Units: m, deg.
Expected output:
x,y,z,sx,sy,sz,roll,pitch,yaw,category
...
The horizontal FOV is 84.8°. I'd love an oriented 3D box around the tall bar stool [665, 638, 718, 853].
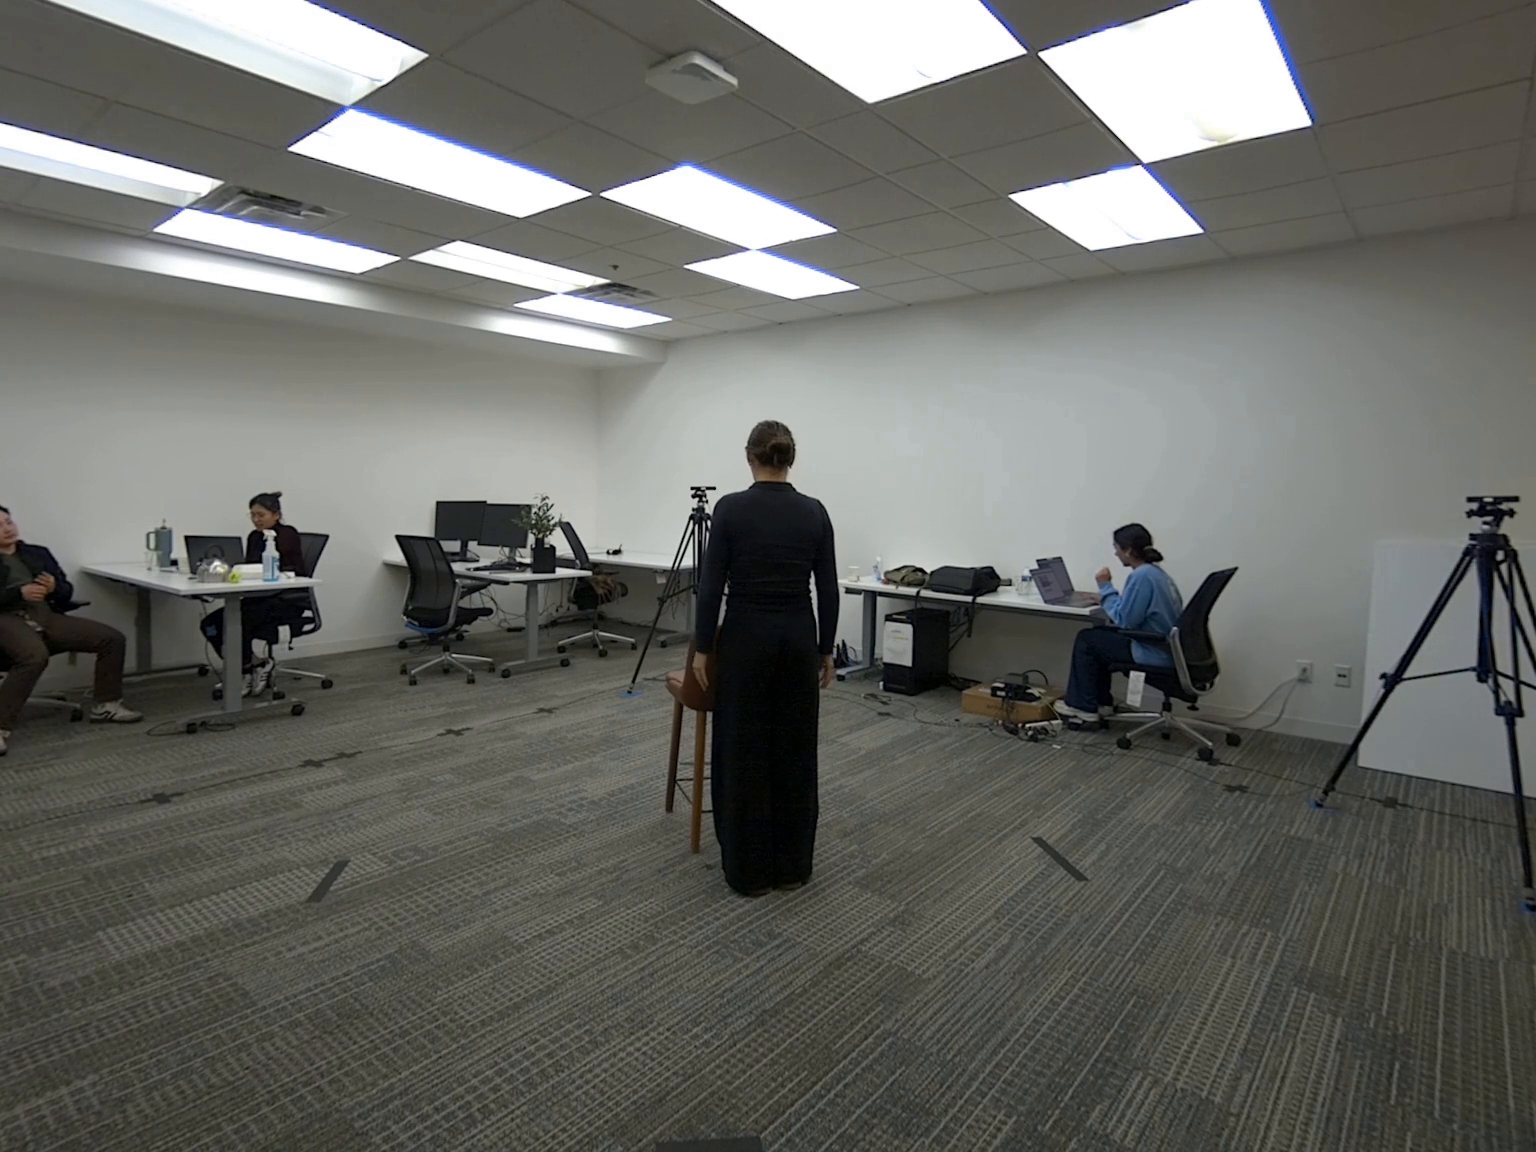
x,y,z,sx,sy,sz,roll,pitch,yaw,category
-0.179,0.593,3.463,0.449,0.886,0.478,0,5,-17,tall bar stool
